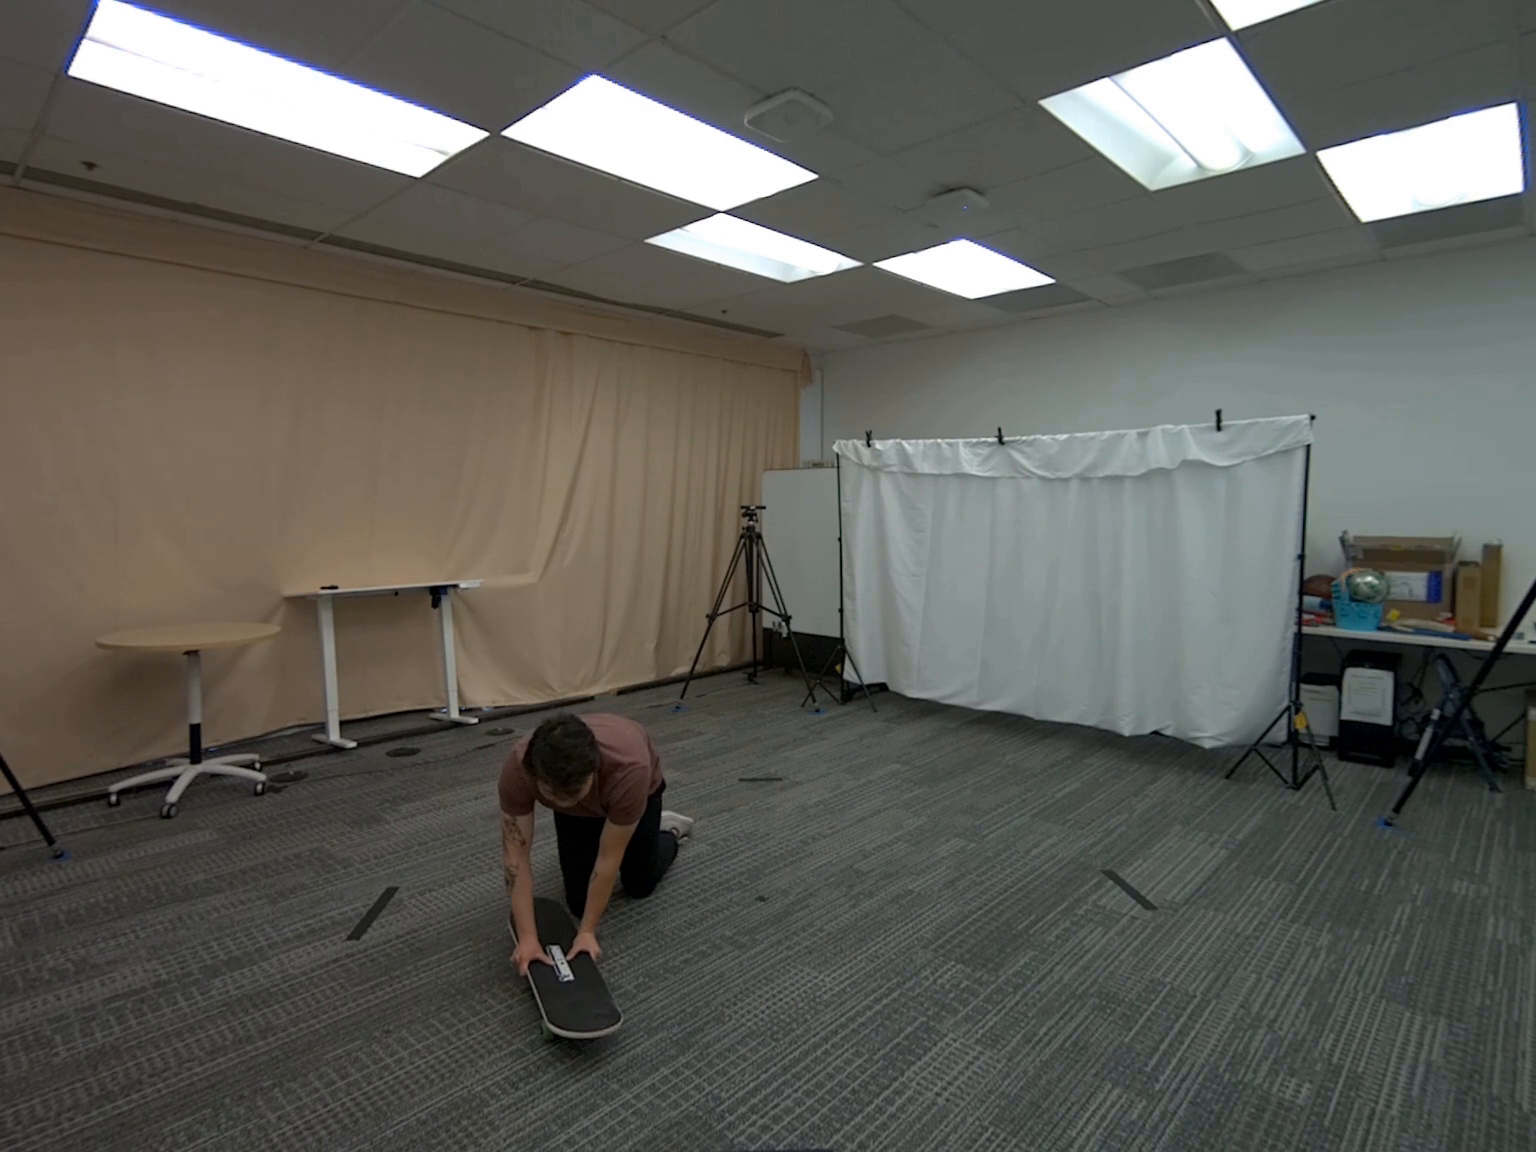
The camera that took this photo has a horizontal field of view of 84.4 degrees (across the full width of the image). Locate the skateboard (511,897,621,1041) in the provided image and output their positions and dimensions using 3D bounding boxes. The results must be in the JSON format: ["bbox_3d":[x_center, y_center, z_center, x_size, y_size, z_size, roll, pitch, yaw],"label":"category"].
[{"bbox_3d":[-0.597,1.134,2.422,0.189,0.110,0.805,2,3,-25],"label":"skateboard"}]
